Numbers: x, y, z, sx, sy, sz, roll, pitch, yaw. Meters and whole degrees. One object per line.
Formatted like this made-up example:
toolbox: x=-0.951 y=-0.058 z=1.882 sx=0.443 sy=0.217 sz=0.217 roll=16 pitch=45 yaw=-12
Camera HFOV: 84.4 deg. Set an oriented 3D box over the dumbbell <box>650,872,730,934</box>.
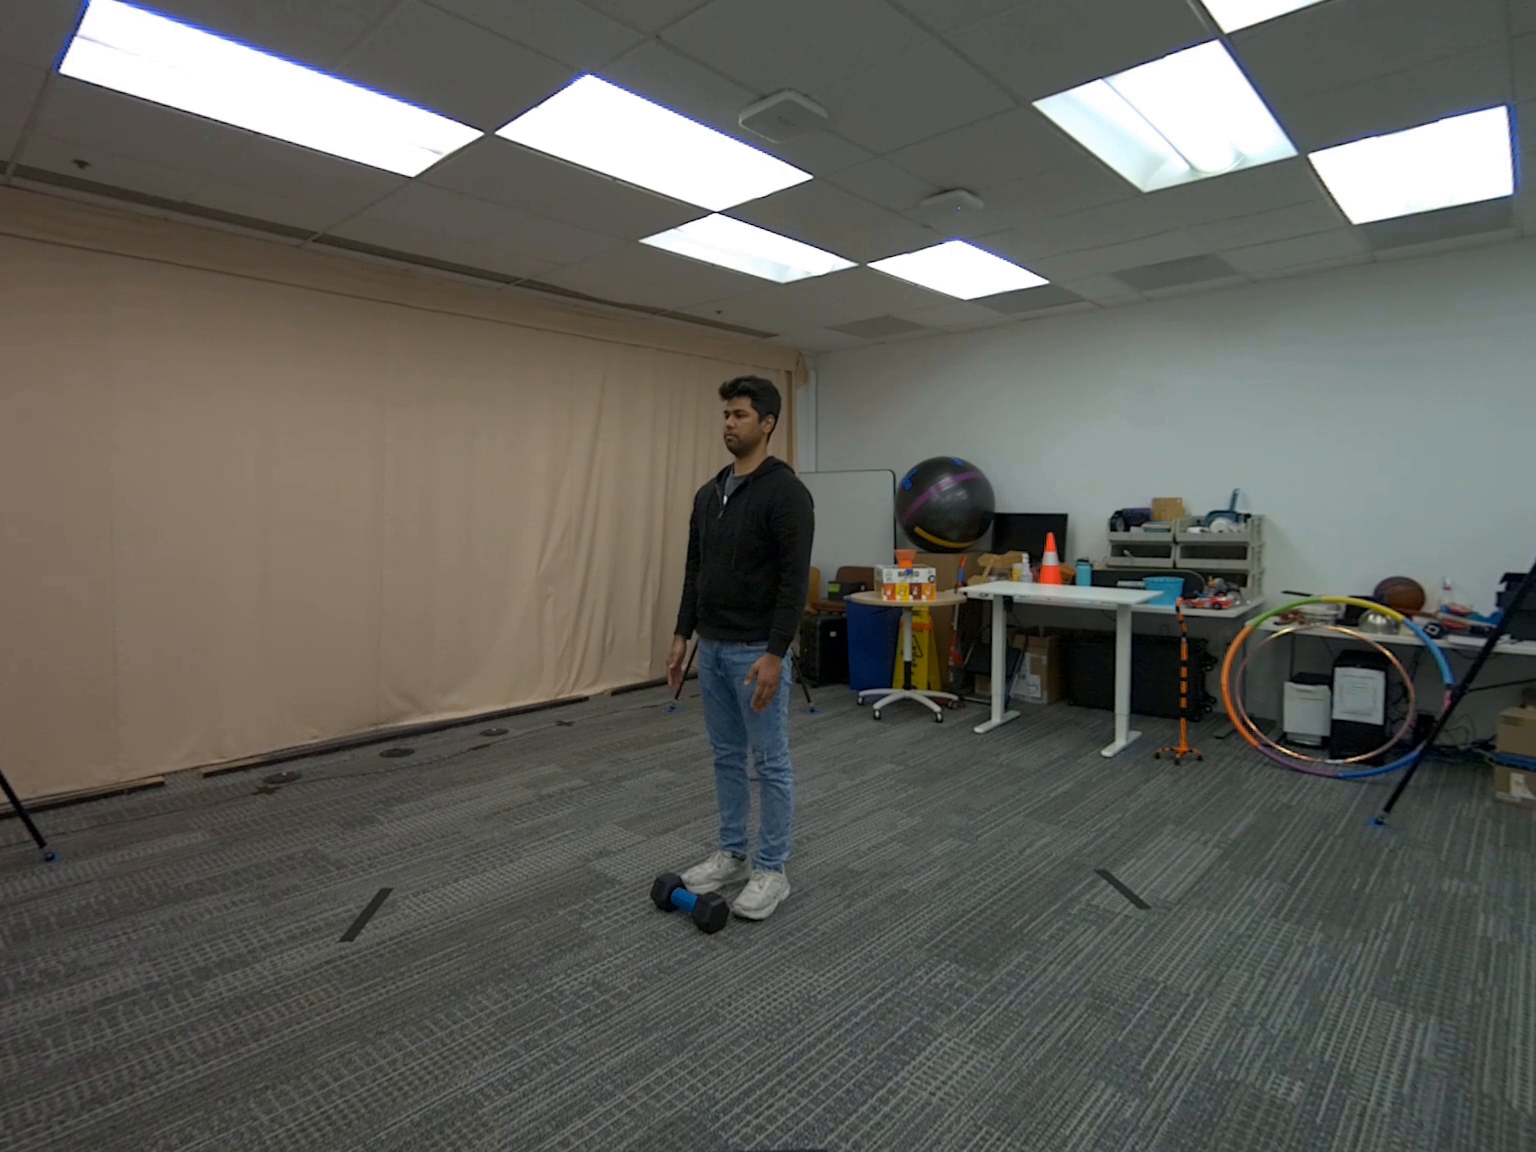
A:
dumbbell: x=-0.262 y=1.102 z=2.844 sx=0.303 sy=0.120 sz=0.107 roll=4 pitch=37 yaw=44
